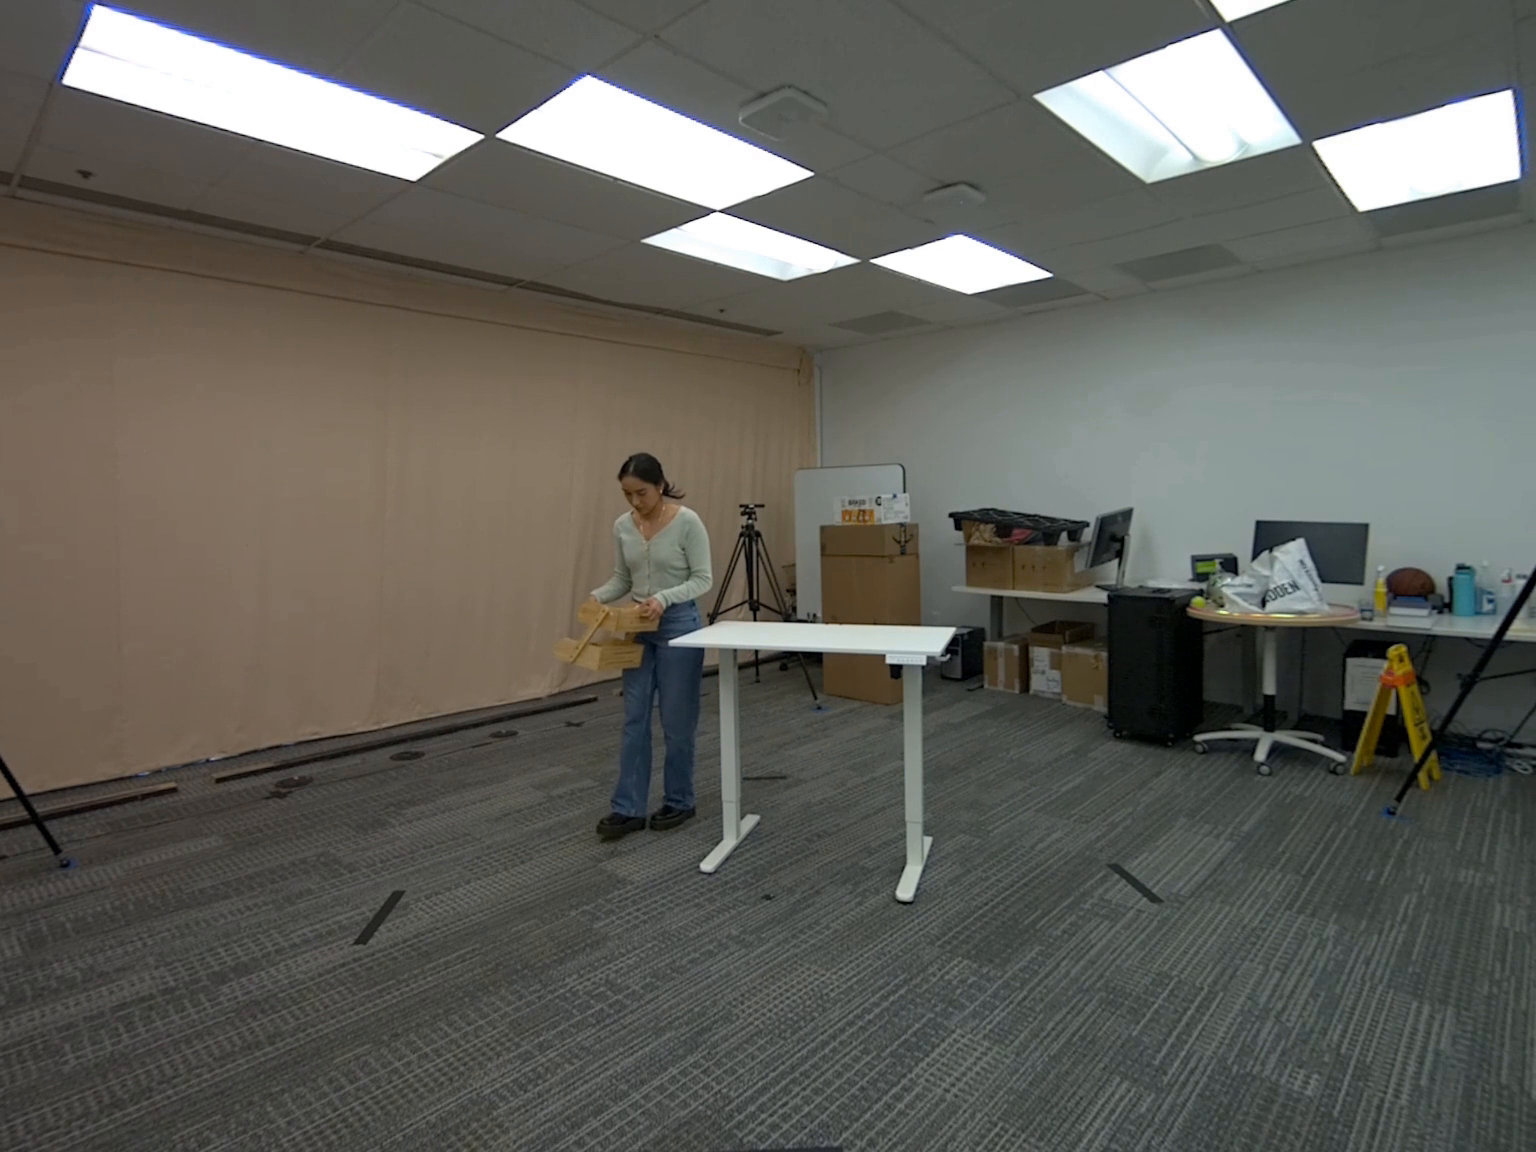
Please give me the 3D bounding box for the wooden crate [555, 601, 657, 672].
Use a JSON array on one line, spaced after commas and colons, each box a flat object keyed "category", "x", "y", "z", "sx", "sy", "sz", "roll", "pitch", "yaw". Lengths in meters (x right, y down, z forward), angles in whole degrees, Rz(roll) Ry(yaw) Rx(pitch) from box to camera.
[{"category": "wooden crate", "x": -0.668, "y": 0.227, "z": 3.473, "sx": 0.311, "sy": 0.273, "sz": 0.315, "roll": 13, "pitch": 3, "yaw": 28}]
